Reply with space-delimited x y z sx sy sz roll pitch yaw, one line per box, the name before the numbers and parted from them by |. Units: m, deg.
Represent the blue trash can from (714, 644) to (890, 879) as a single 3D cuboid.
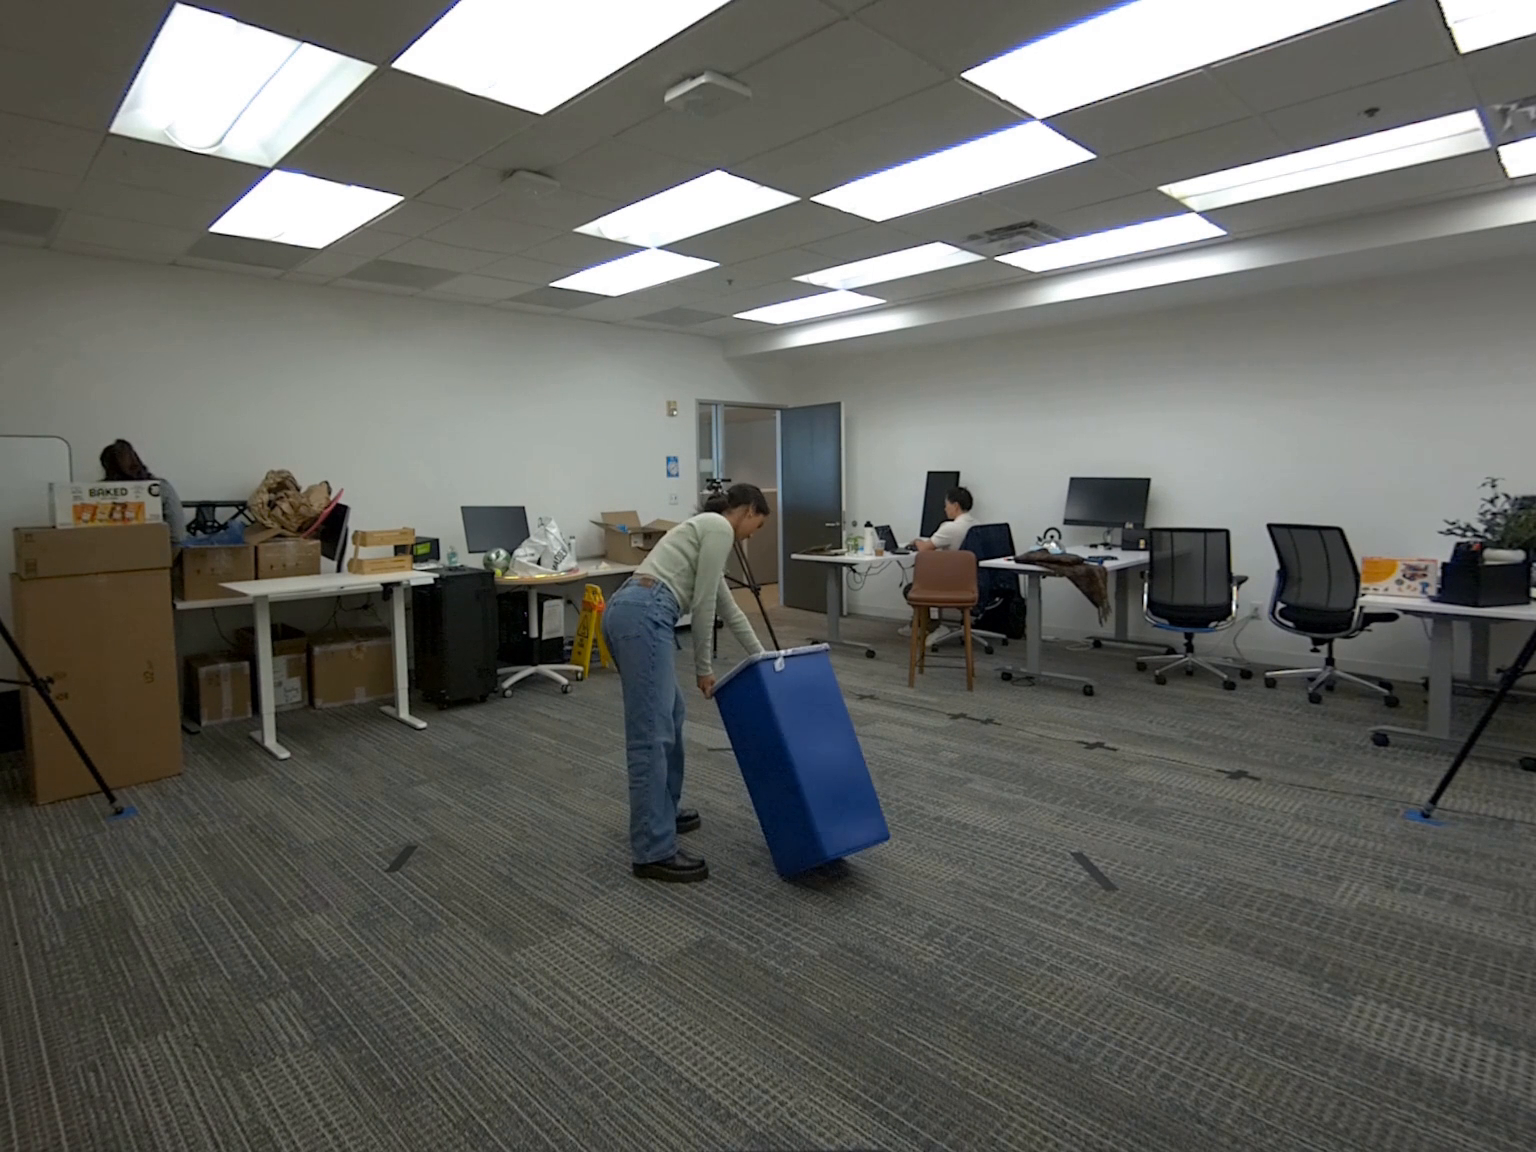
blue trash can | 0.107 0.660 3.095 0.368 0.731 0.374 -3 -27 -35
